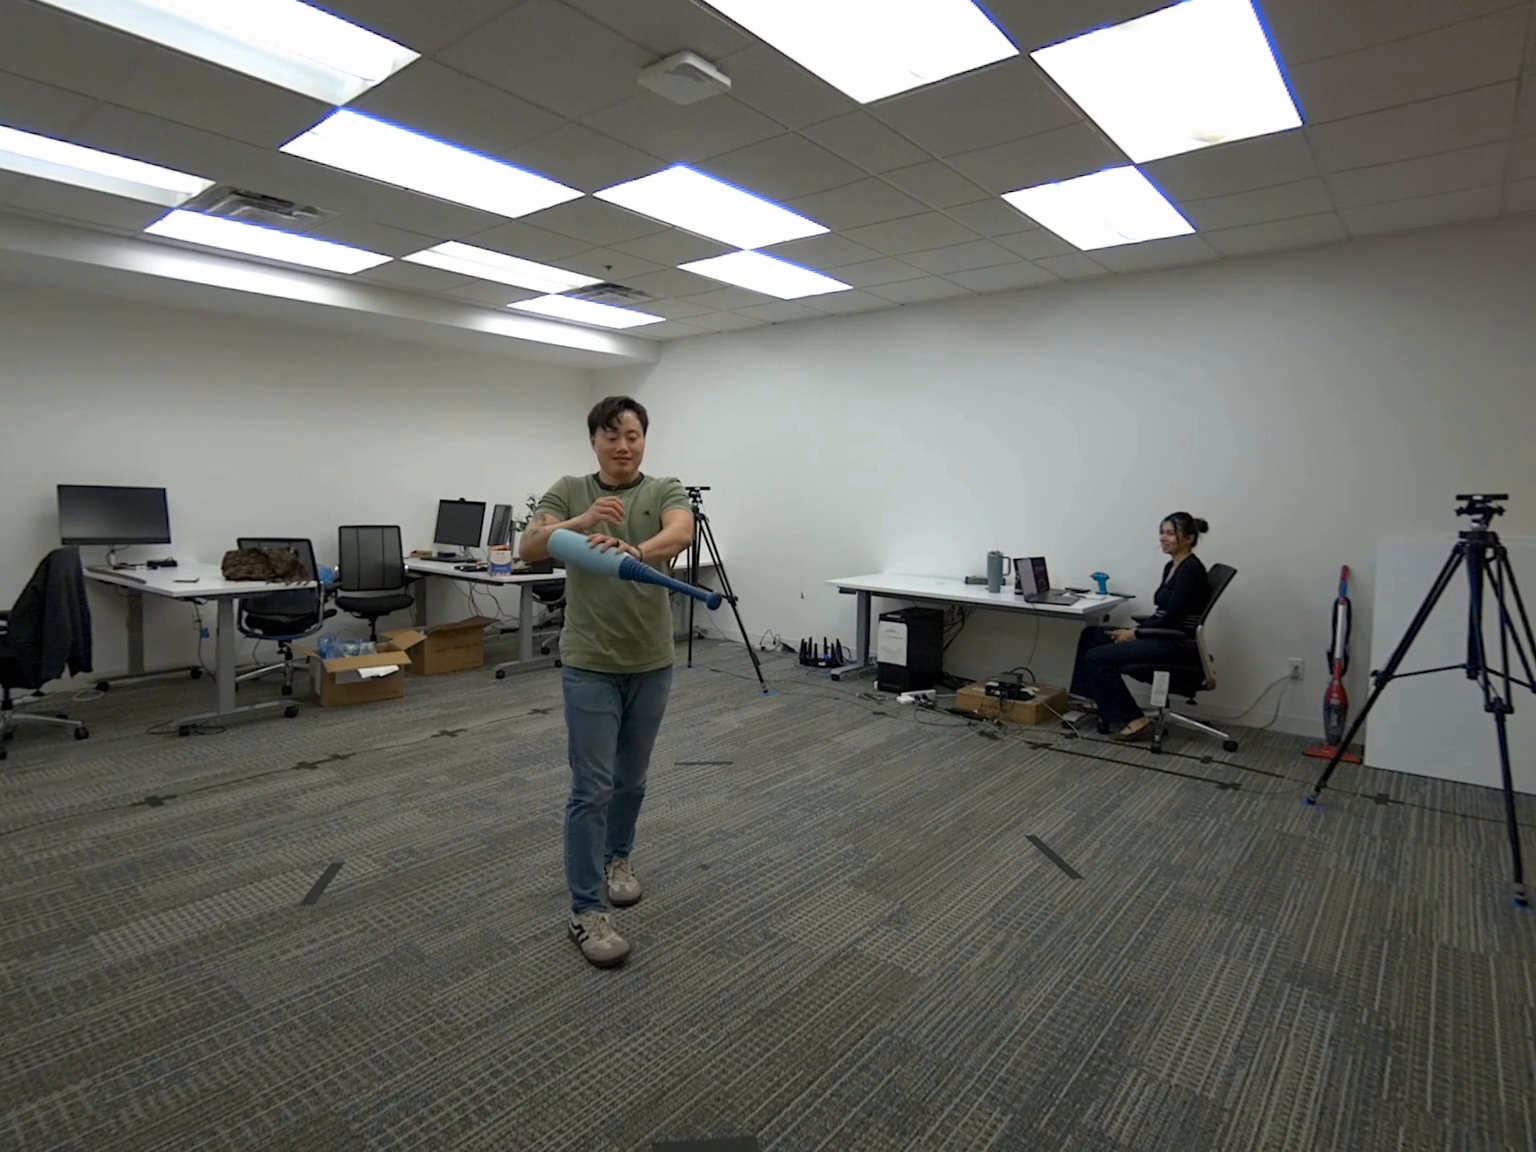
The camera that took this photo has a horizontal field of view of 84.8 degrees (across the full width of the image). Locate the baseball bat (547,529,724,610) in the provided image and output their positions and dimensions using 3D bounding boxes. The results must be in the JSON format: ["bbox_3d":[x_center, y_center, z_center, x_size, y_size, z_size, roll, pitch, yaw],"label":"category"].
[{"bbox_3d":[-0.363,-0.018,2.252,0.560,0.088,0.087,18,11,26],"label":"baseball bat"}]
